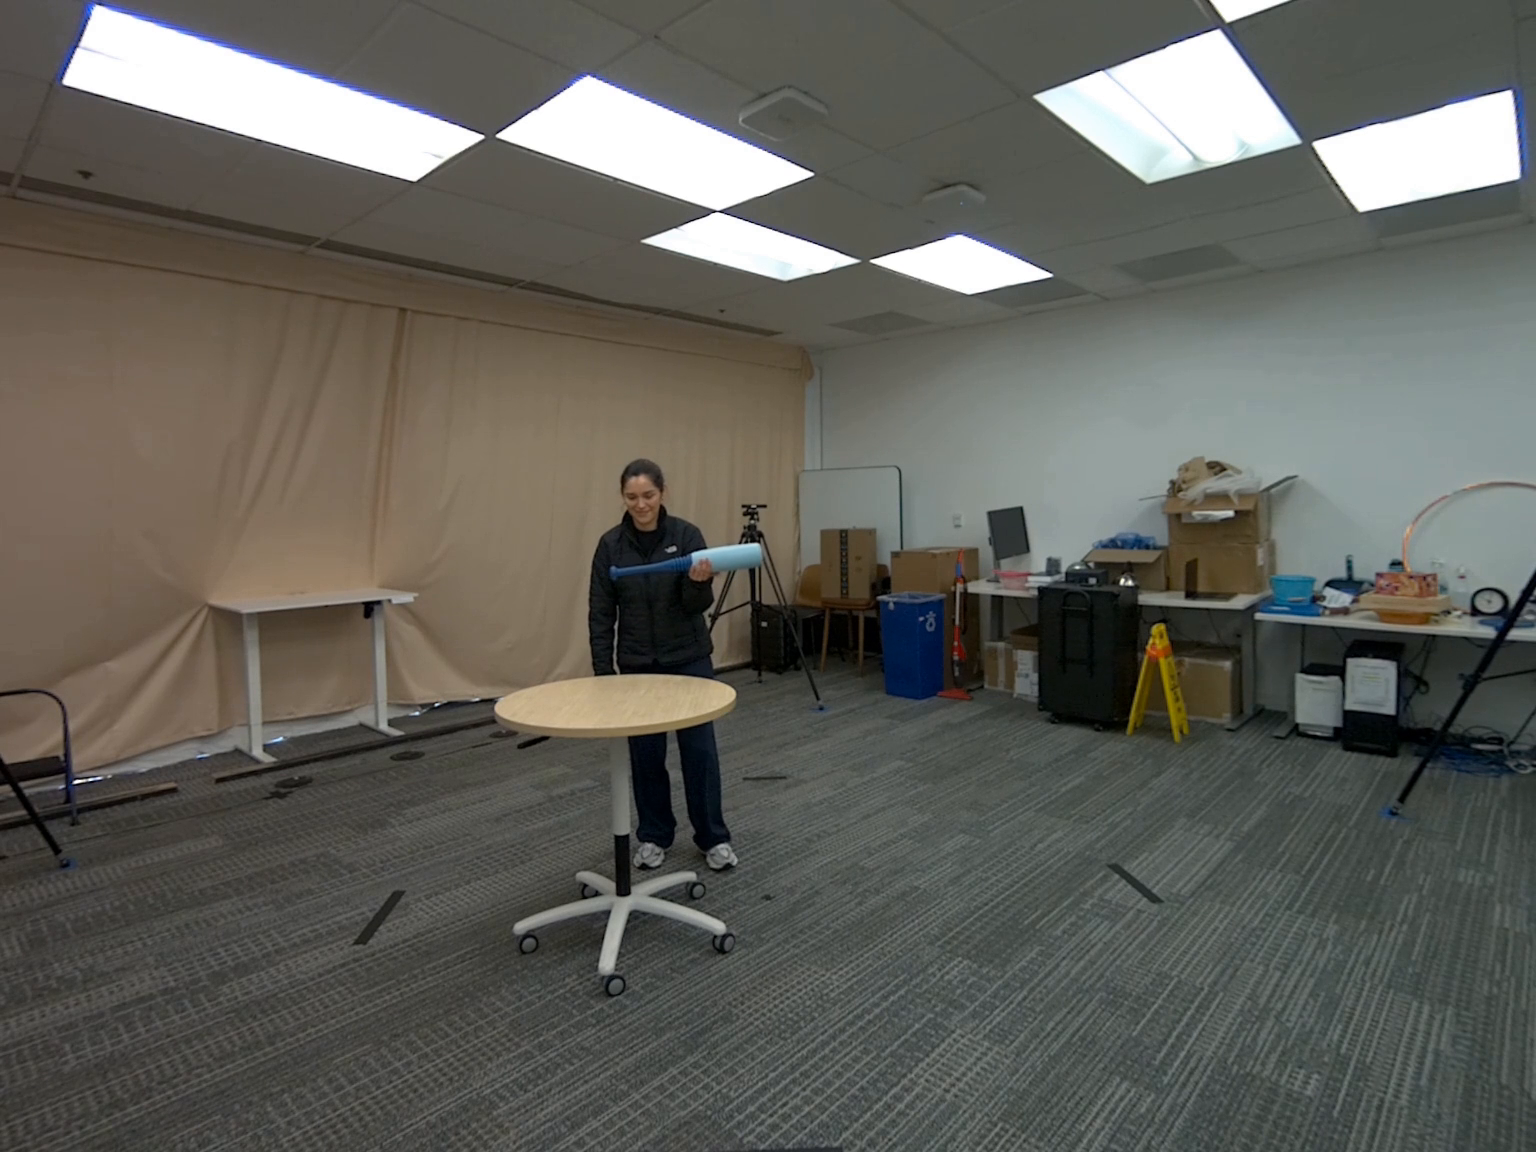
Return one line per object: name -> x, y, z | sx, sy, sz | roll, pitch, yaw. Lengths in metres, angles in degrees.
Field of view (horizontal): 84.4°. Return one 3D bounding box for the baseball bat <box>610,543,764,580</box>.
baseball bat -> -0.285, -0.039, 2.990 | 0.542, 0.089, 0.089 | -7, 4, -2
